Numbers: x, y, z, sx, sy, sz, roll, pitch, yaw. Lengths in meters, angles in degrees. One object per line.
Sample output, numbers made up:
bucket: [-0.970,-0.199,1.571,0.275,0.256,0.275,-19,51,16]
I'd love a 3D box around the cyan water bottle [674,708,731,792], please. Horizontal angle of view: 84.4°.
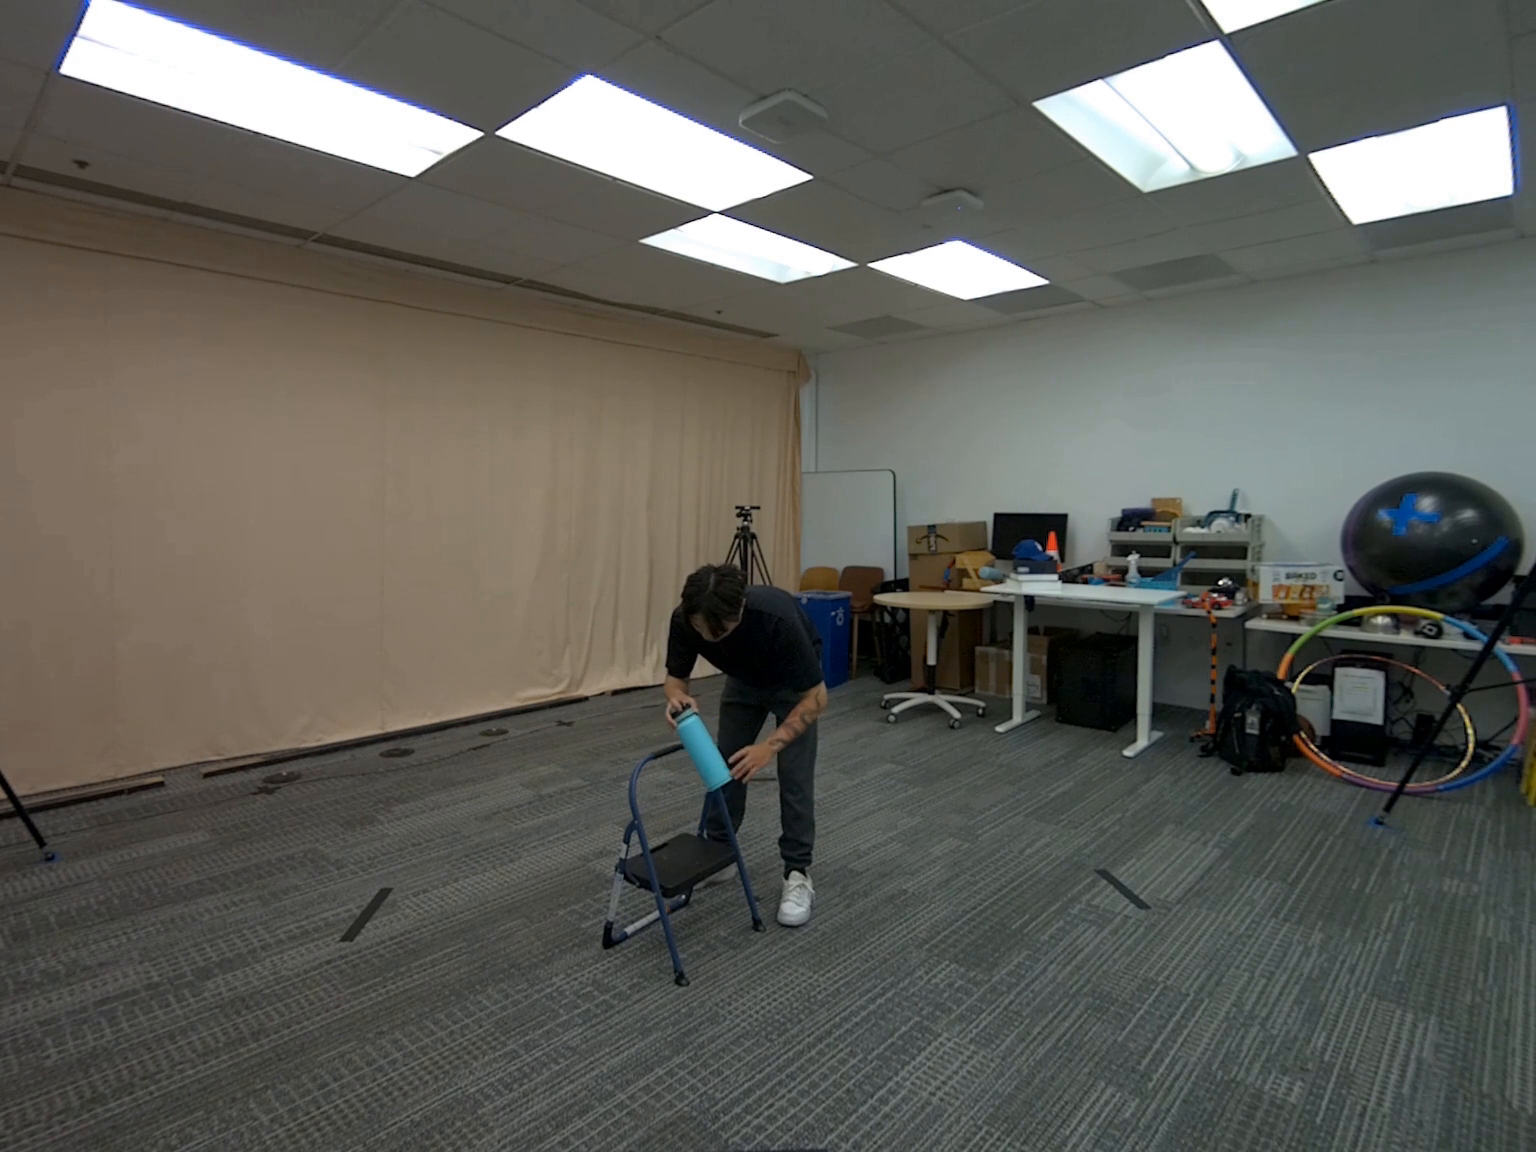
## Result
cyan water bottle: [-0.216,0.529,2.648,0.092,0.285,0.092,-28,-6,-5]
